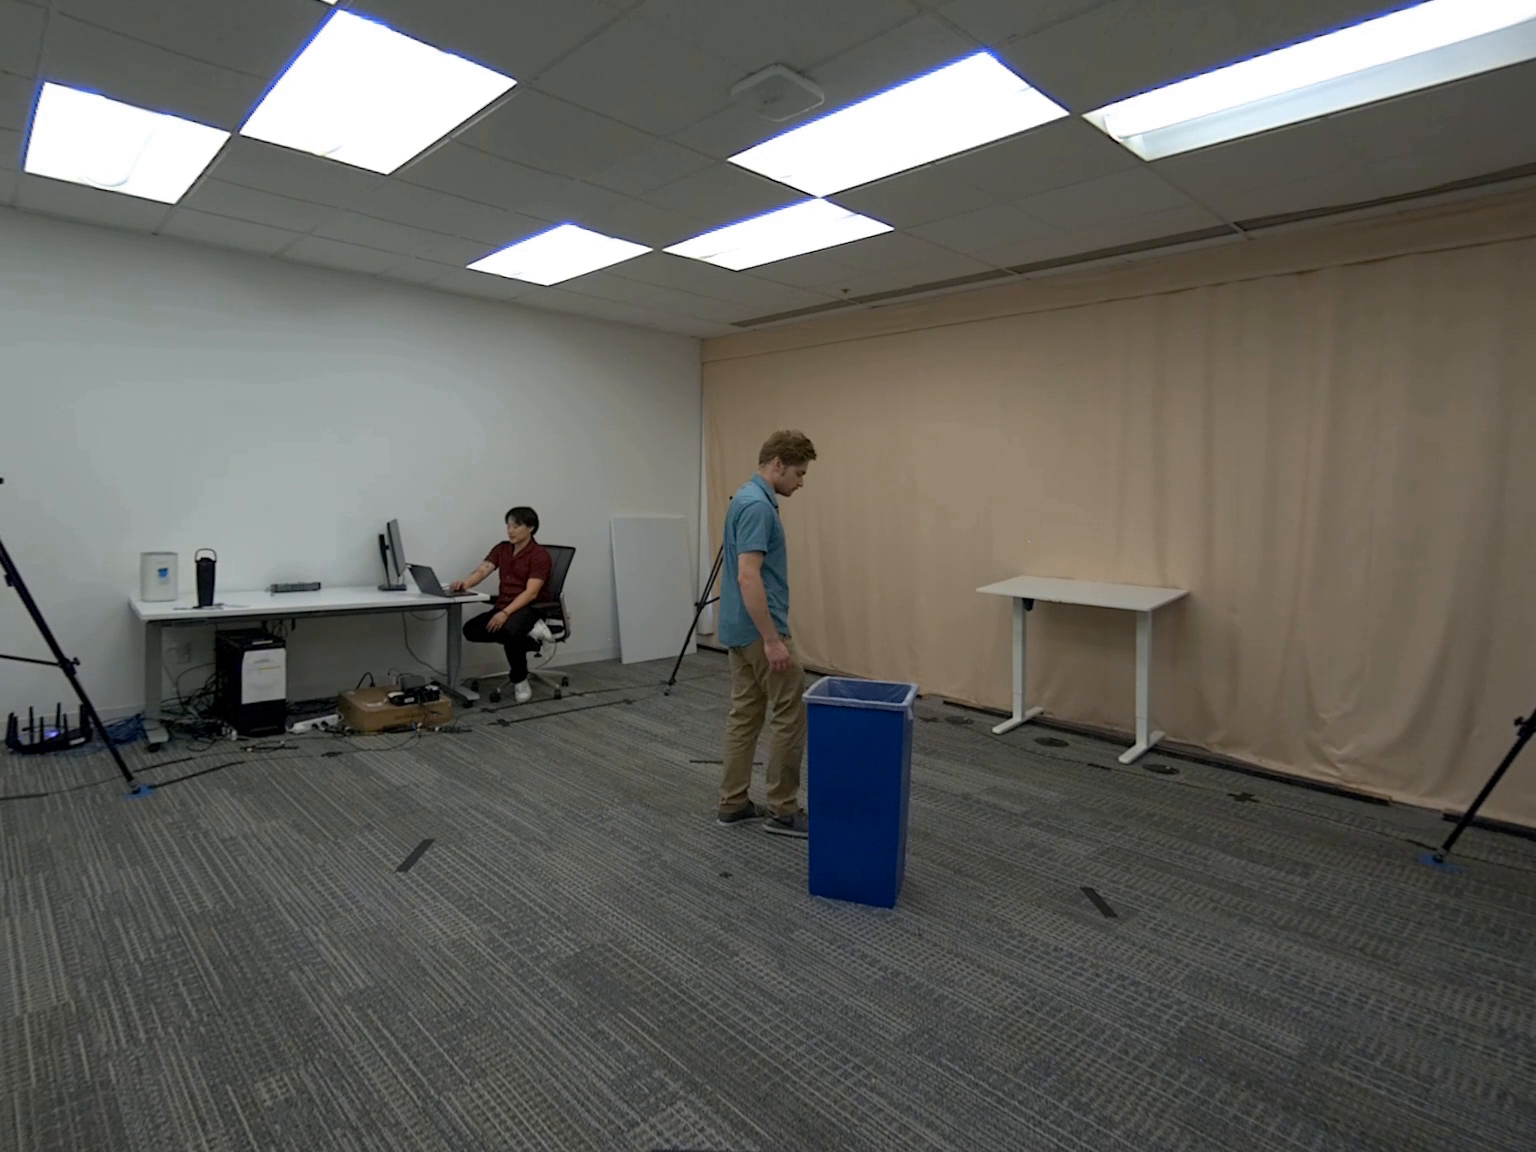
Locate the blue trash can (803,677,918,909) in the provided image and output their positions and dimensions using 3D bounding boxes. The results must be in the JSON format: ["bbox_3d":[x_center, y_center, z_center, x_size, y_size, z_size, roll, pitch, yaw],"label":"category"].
[{"bbox_3d":[0.323,0.764,3.039,0.379,0.712,0.373,3,3,17],"label":"blue trash can"}]
